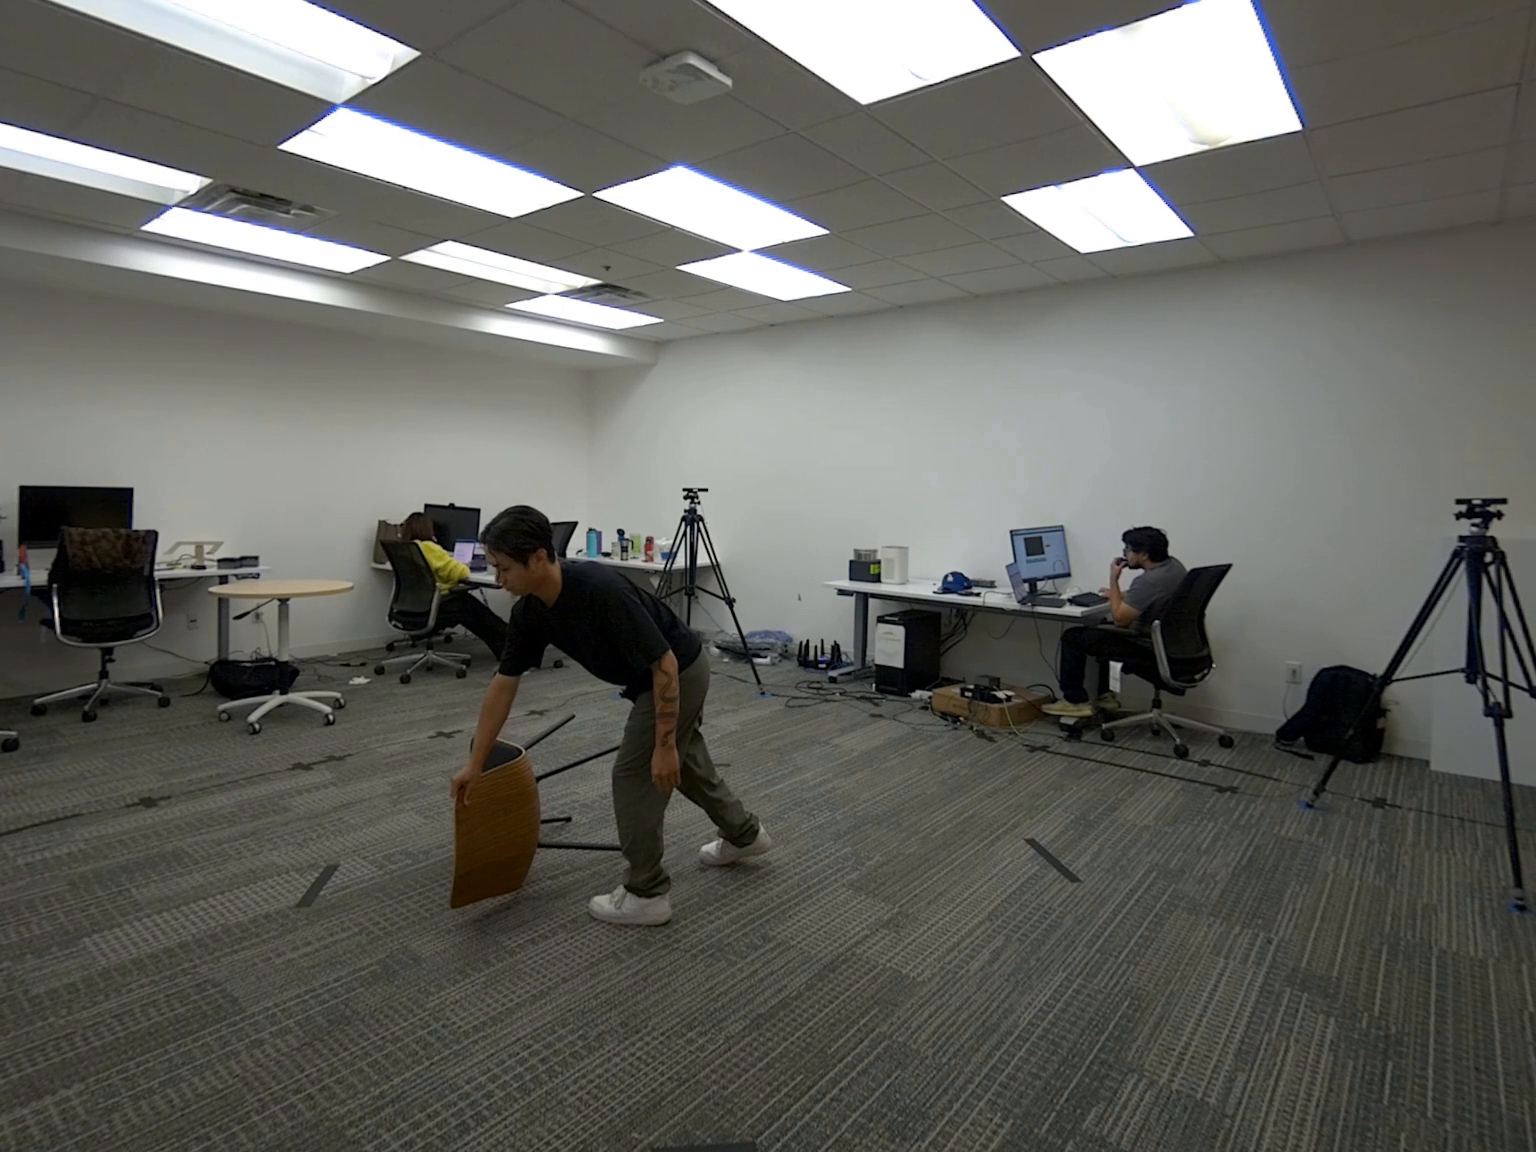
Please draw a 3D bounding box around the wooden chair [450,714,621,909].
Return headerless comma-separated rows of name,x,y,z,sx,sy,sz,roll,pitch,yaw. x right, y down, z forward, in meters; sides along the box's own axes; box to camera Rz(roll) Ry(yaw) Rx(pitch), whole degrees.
wooden chair,-0.933,0.830,3.084,0.540,0.476,0.852,5,6,36
